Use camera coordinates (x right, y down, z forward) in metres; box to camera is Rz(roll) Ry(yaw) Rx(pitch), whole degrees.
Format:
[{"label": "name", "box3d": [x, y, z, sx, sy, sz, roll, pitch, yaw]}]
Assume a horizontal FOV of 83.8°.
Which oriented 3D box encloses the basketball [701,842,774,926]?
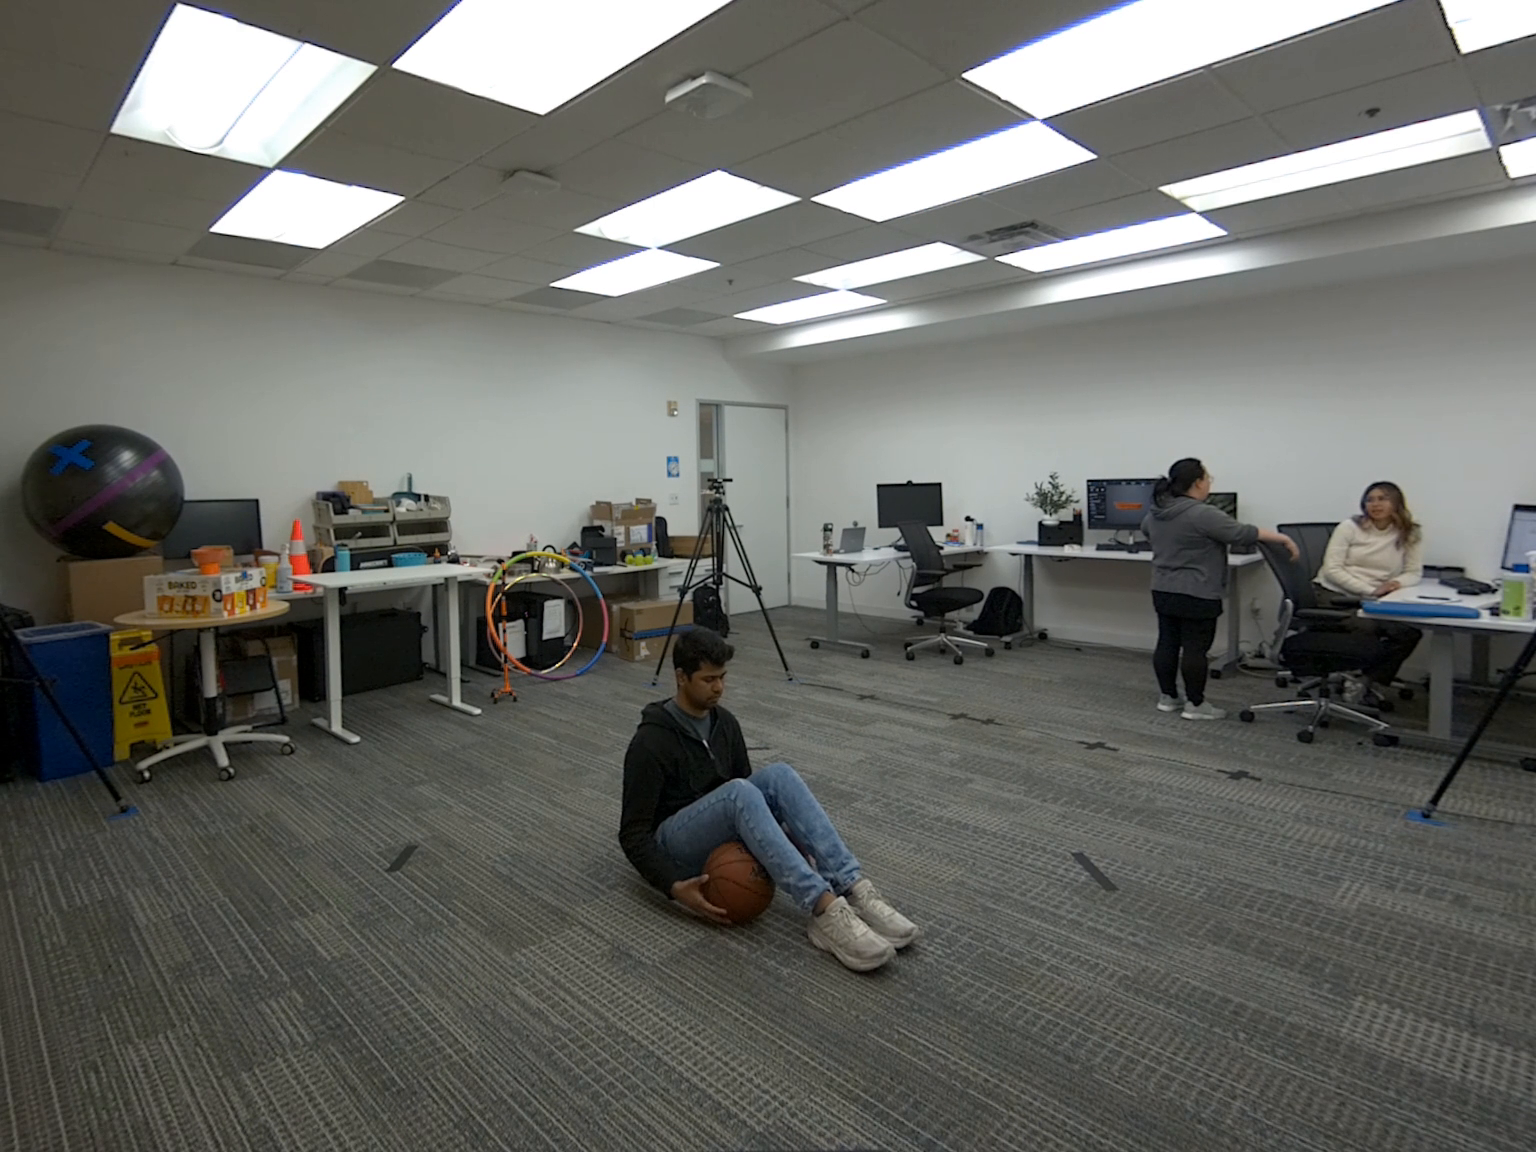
[{"label": "basketball", "box3d": [-0.105, 0.962, 2.725, 0.236, 0.235, 0.237, -1, 5, -2]}]
